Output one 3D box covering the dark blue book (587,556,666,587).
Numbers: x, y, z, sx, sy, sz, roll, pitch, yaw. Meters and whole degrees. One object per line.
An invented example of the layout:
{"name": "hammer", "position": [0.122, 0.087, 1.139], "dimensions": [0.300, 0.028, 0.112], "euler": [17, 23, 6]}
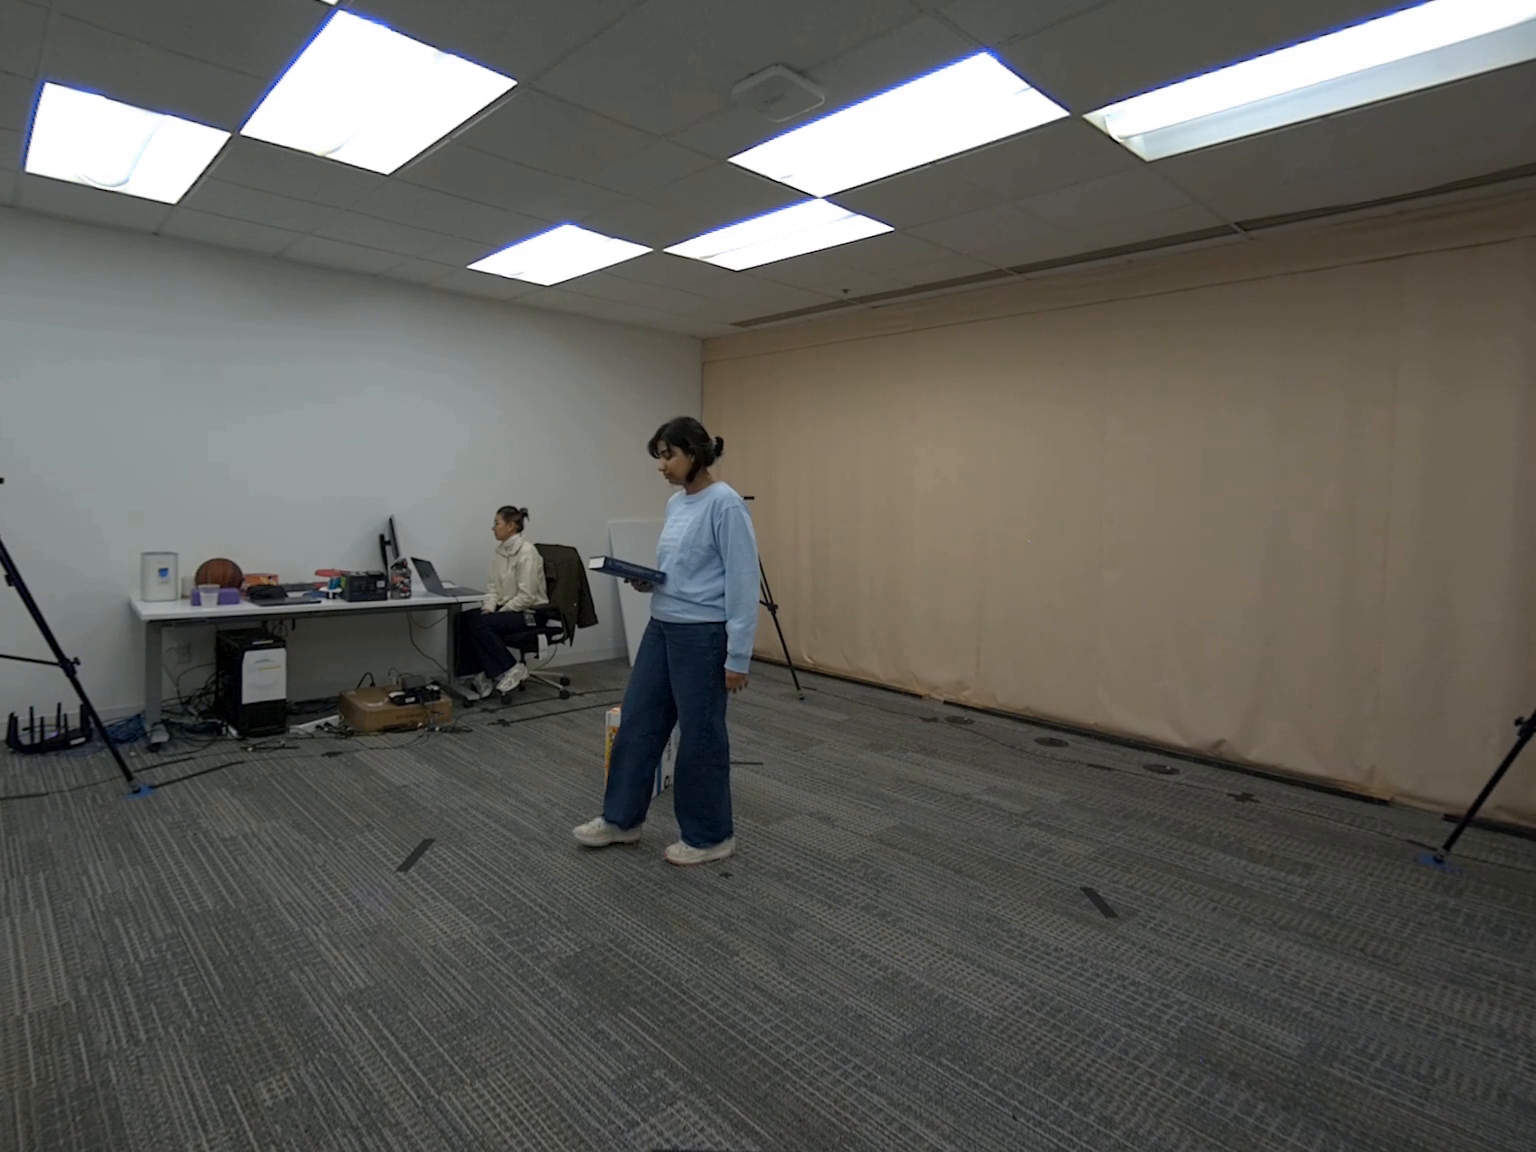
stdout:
{"name": "dark blue book", "position": [-0.532, -0.021, 3.081], "dimensions": [0.239, 0.045, 0.166], "euler": [15, -9, -30]}
